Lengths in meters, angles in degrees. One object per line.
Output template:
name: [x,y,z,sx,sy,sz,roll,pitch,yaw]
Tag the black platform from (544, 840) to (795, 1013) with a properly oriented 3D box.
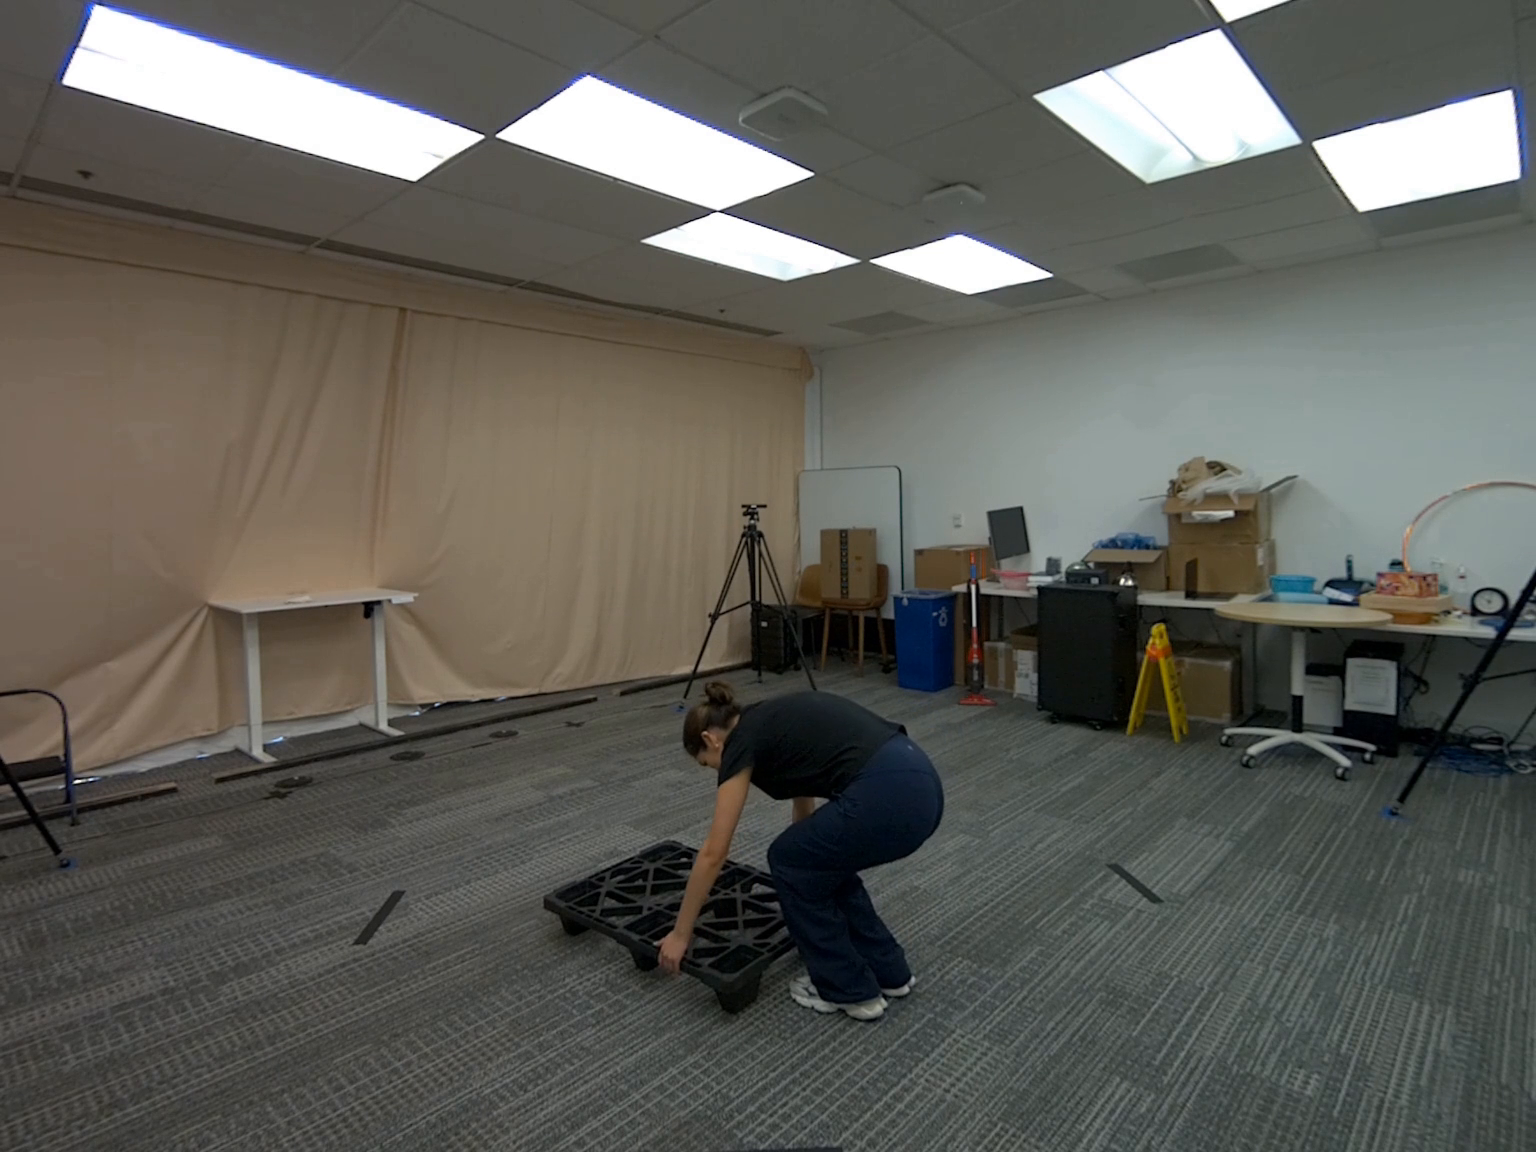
black platform: [-0.224,1.101,2.704,0.832,0.143,0.587,2,7,39]
